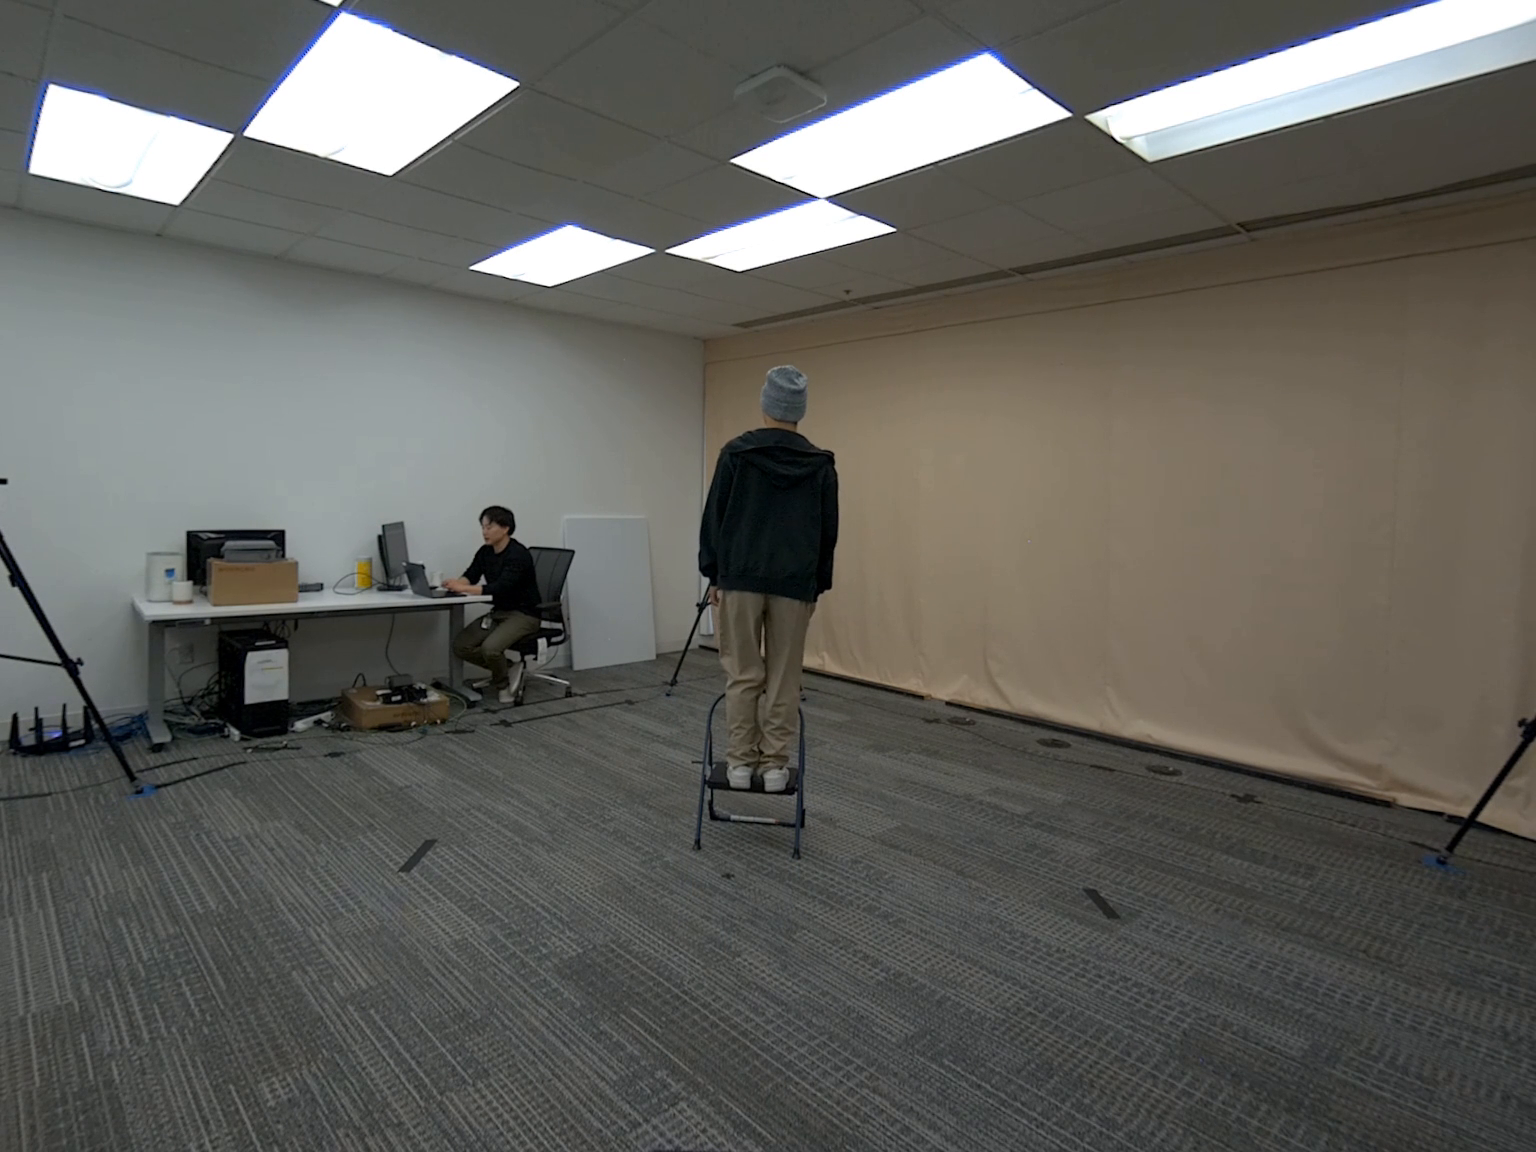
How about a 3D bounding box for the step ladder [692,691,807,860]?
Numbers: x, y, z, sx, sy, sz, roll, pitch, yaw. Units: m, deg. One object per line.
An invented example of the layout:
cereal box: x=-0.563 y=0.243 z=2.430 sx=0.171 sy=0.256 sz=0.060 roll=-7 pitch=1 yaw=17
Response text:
step ladder: x=-0.067 y=0.783 z=3.455 sx=0.433 sy=0.604 sz=0.348 roll=2 pitch=4 yaw=7
